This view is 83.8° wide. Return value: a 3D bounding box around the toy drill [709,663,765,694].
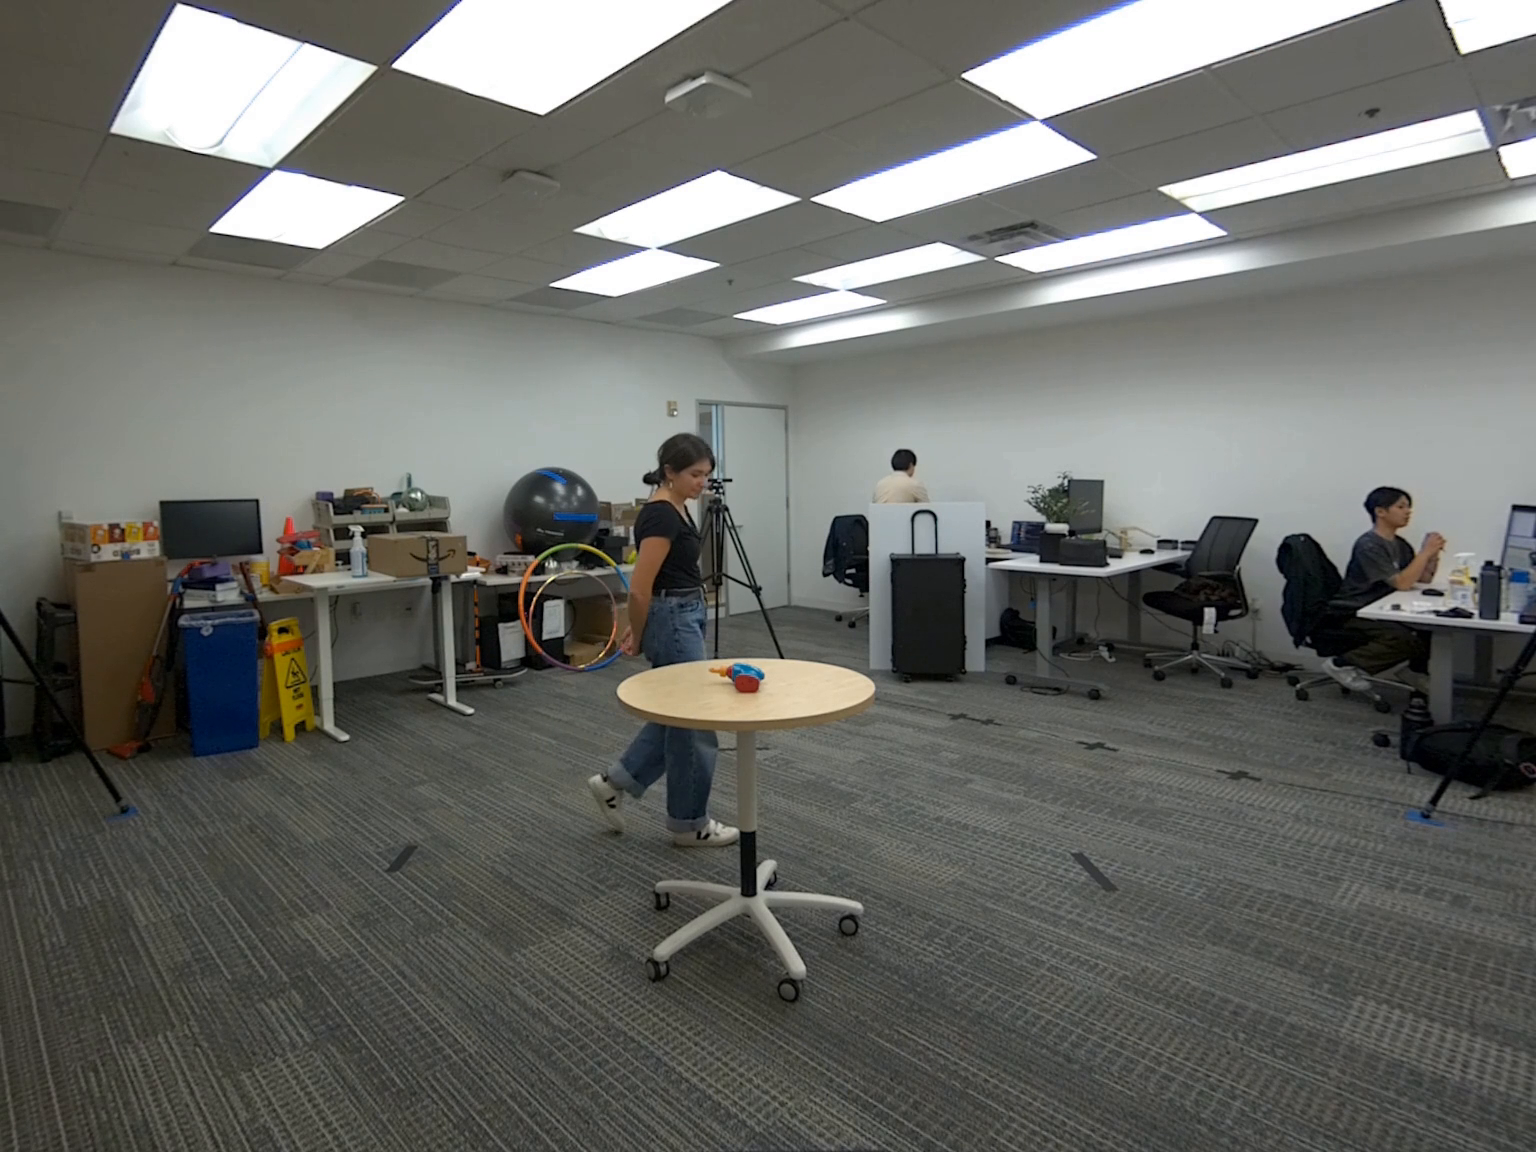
[{"bbox_3d":[-0.094,0.299,2.532,0.171,0.061,0.146,9,8,5],"label":"toy drill"}]
